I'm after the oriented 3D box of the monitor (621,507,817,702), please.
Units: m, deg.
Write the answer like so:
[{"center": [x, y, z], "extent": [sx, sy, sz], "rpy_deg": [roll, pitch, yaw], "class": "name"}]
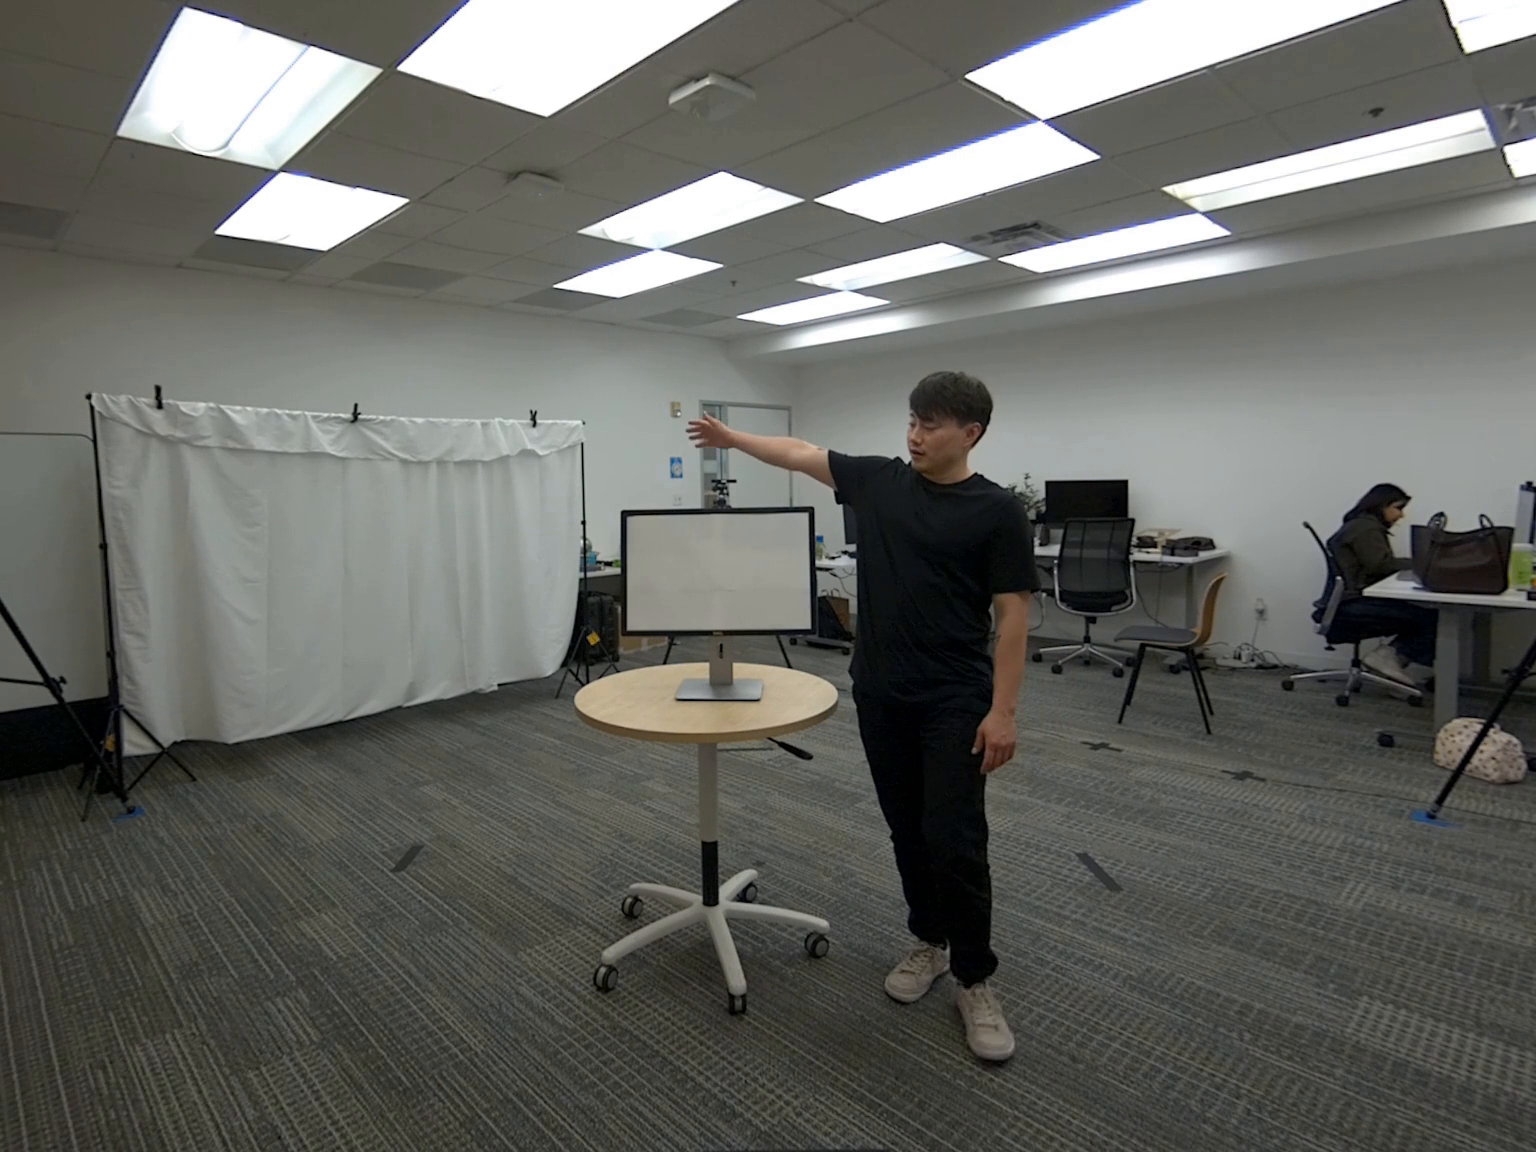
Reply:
[{"center": [-0.146, 0.078, 2.488], "extent": [0.540, 0.520, 0.188], "rpy_deg": [-1, 6, 1], "class": "monitor"}]
